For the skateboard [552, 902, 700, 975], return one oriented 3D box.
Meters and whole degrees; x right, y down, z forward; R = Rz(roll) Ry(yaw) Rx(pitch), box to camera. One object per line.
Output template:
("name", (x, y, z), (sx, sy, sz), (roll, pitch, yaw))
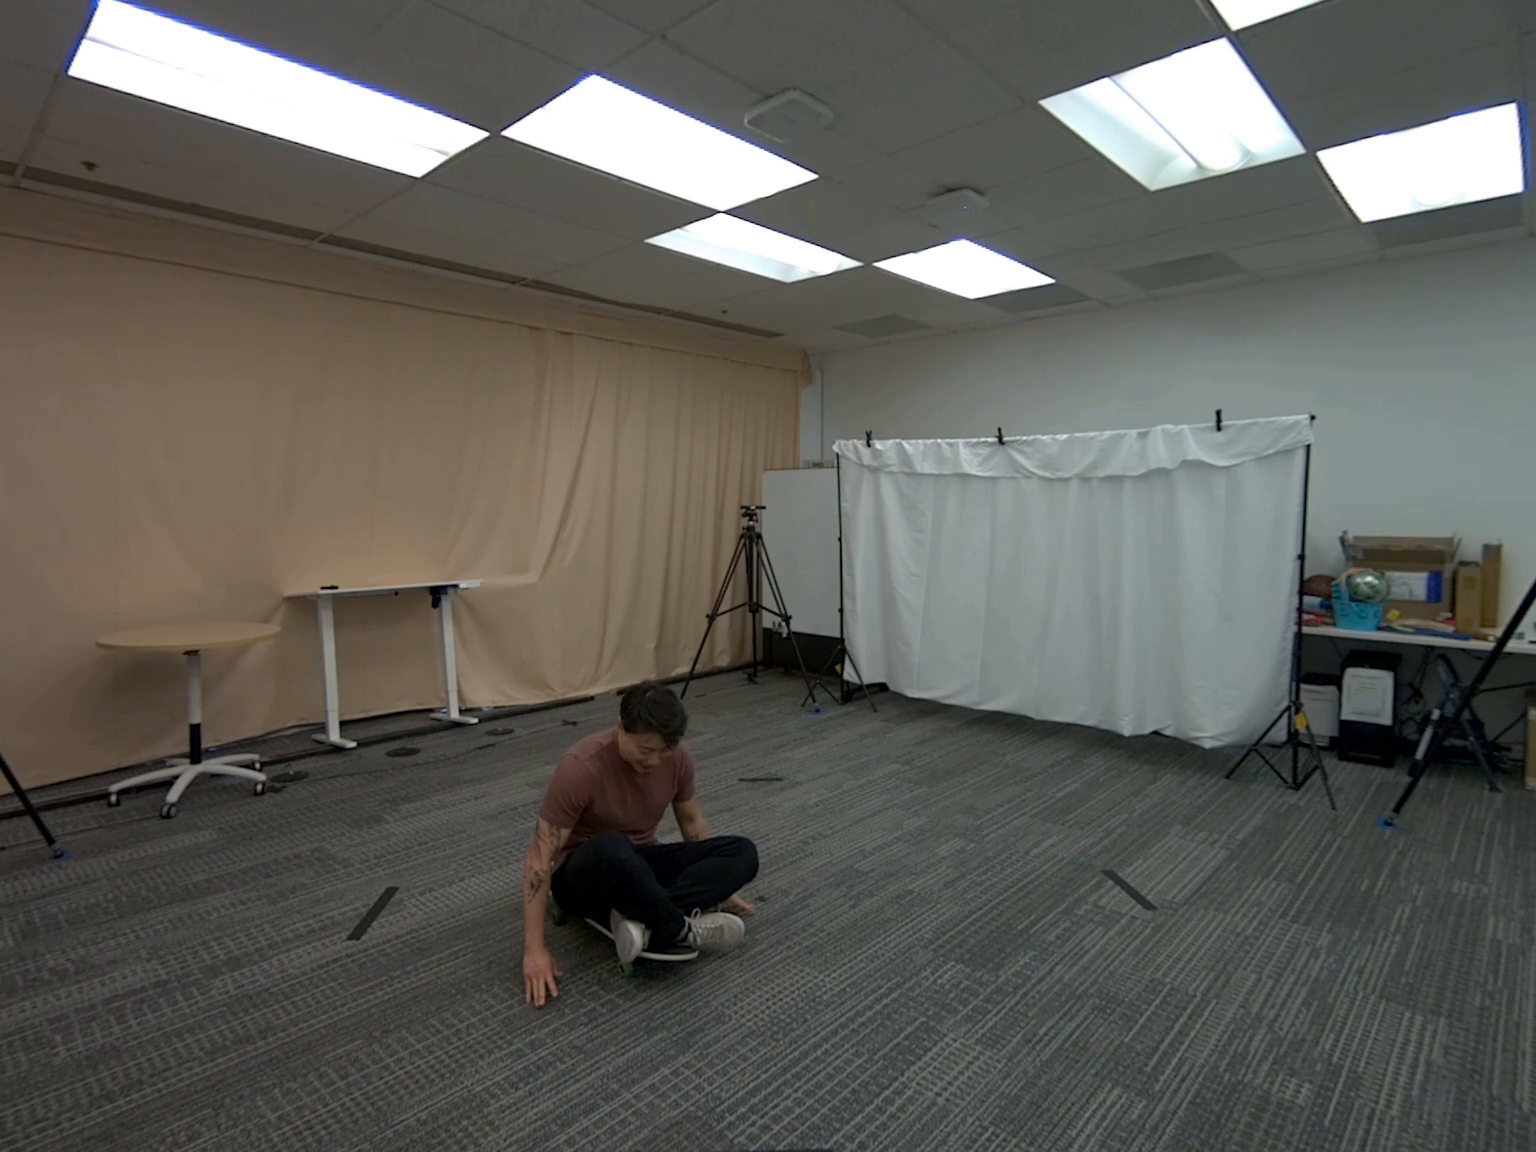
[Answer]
("skateboard", (-0.513, 1.126, 2.696), (0.187, 0.110, 0.811), (12, -5, -40))
